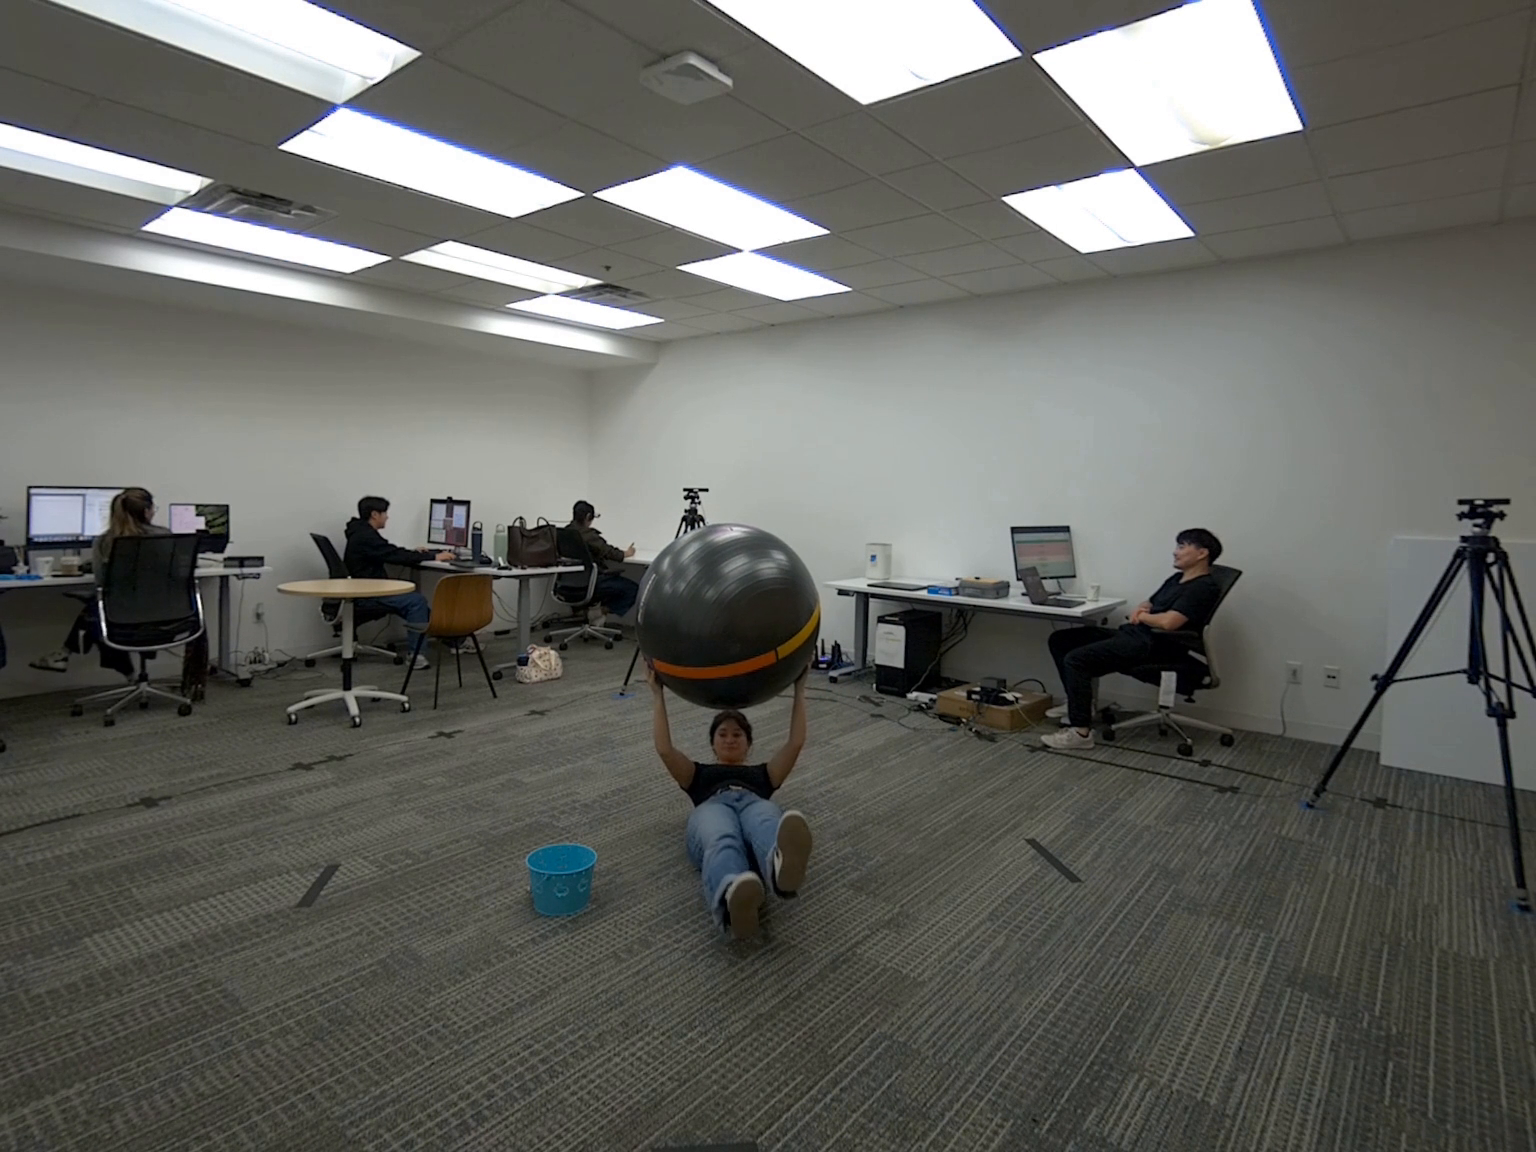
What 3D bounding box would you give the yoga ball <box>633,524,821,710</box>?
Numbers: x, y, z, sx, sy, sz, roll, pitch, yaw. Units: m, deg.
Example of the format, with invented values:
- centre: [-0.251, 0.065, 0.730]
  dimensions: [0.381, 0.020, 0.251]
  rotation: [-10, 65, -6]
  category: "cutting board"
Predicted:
- centre: [-0.177, 0.165, 3.483]
  dimensions: [0.757, 0.755, 0.762]
  rotation: [1, 4, -2]
  category: "yoga ball"
